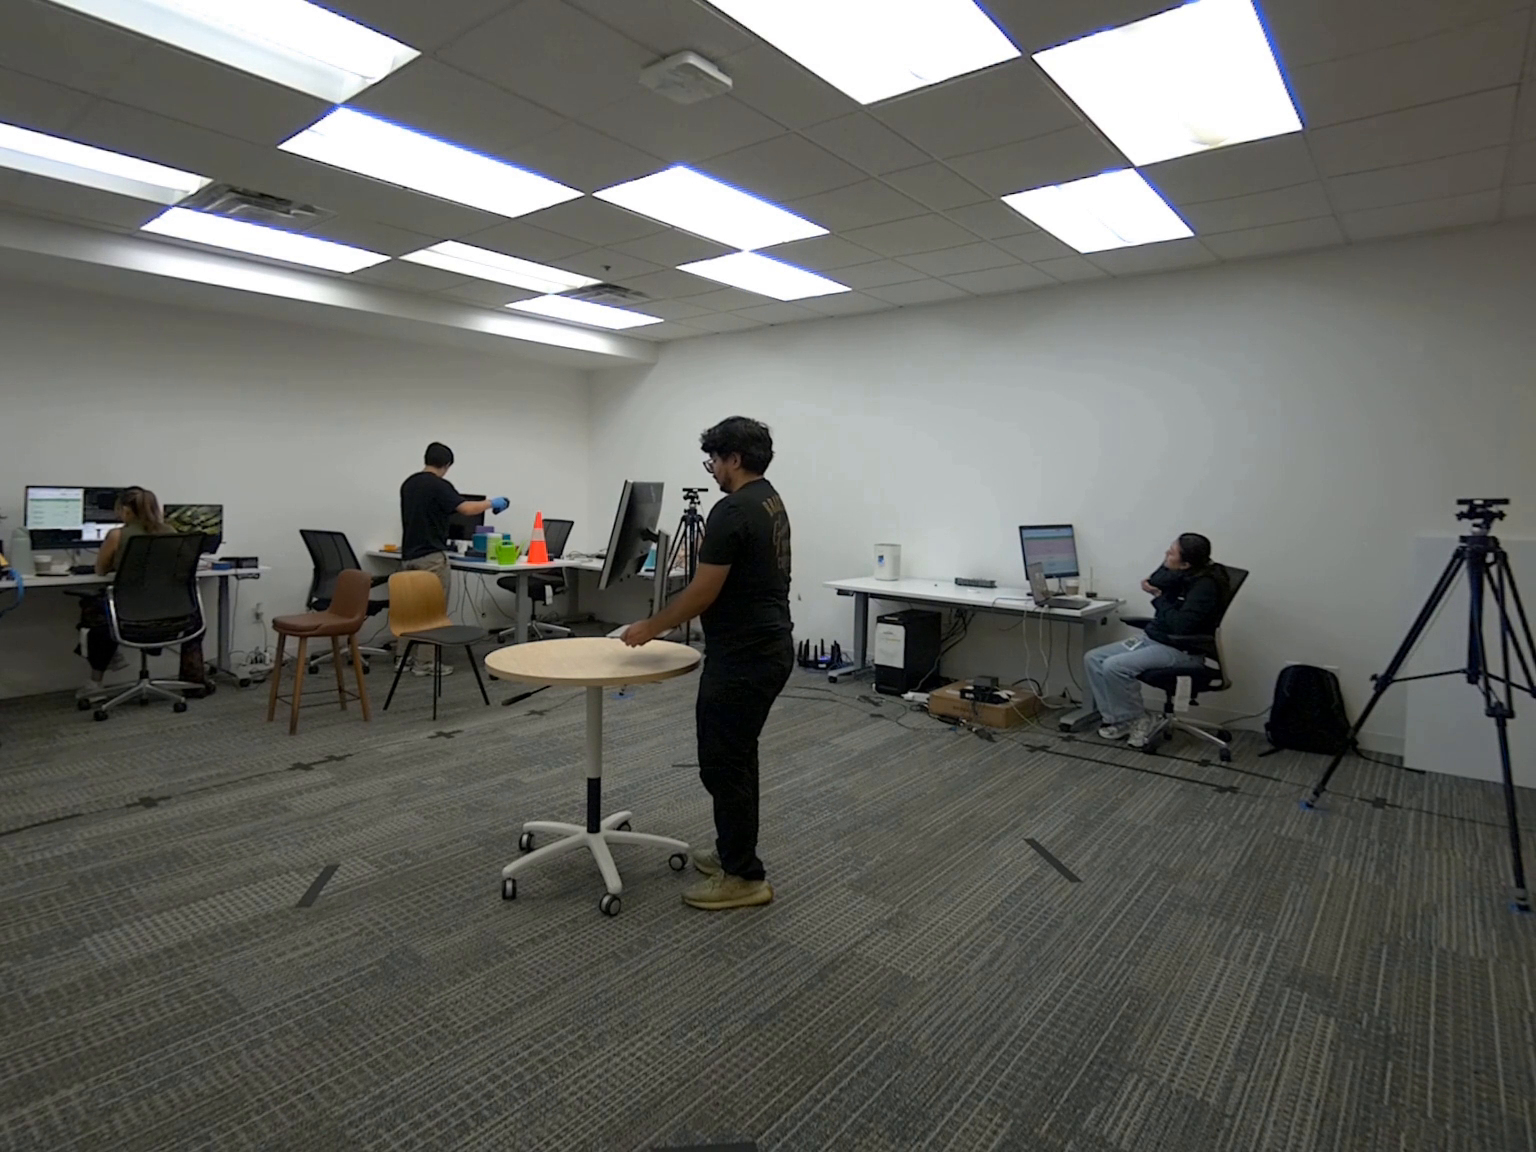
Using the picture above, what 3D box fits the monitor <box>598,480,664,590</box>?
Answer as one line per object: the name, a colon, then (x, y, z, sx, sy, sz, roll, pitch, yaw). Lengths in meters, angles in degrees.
monitor: (-0.424, -0.060, 2.987, 0.211, 0.552, 0.564, 8, 5, 3)
